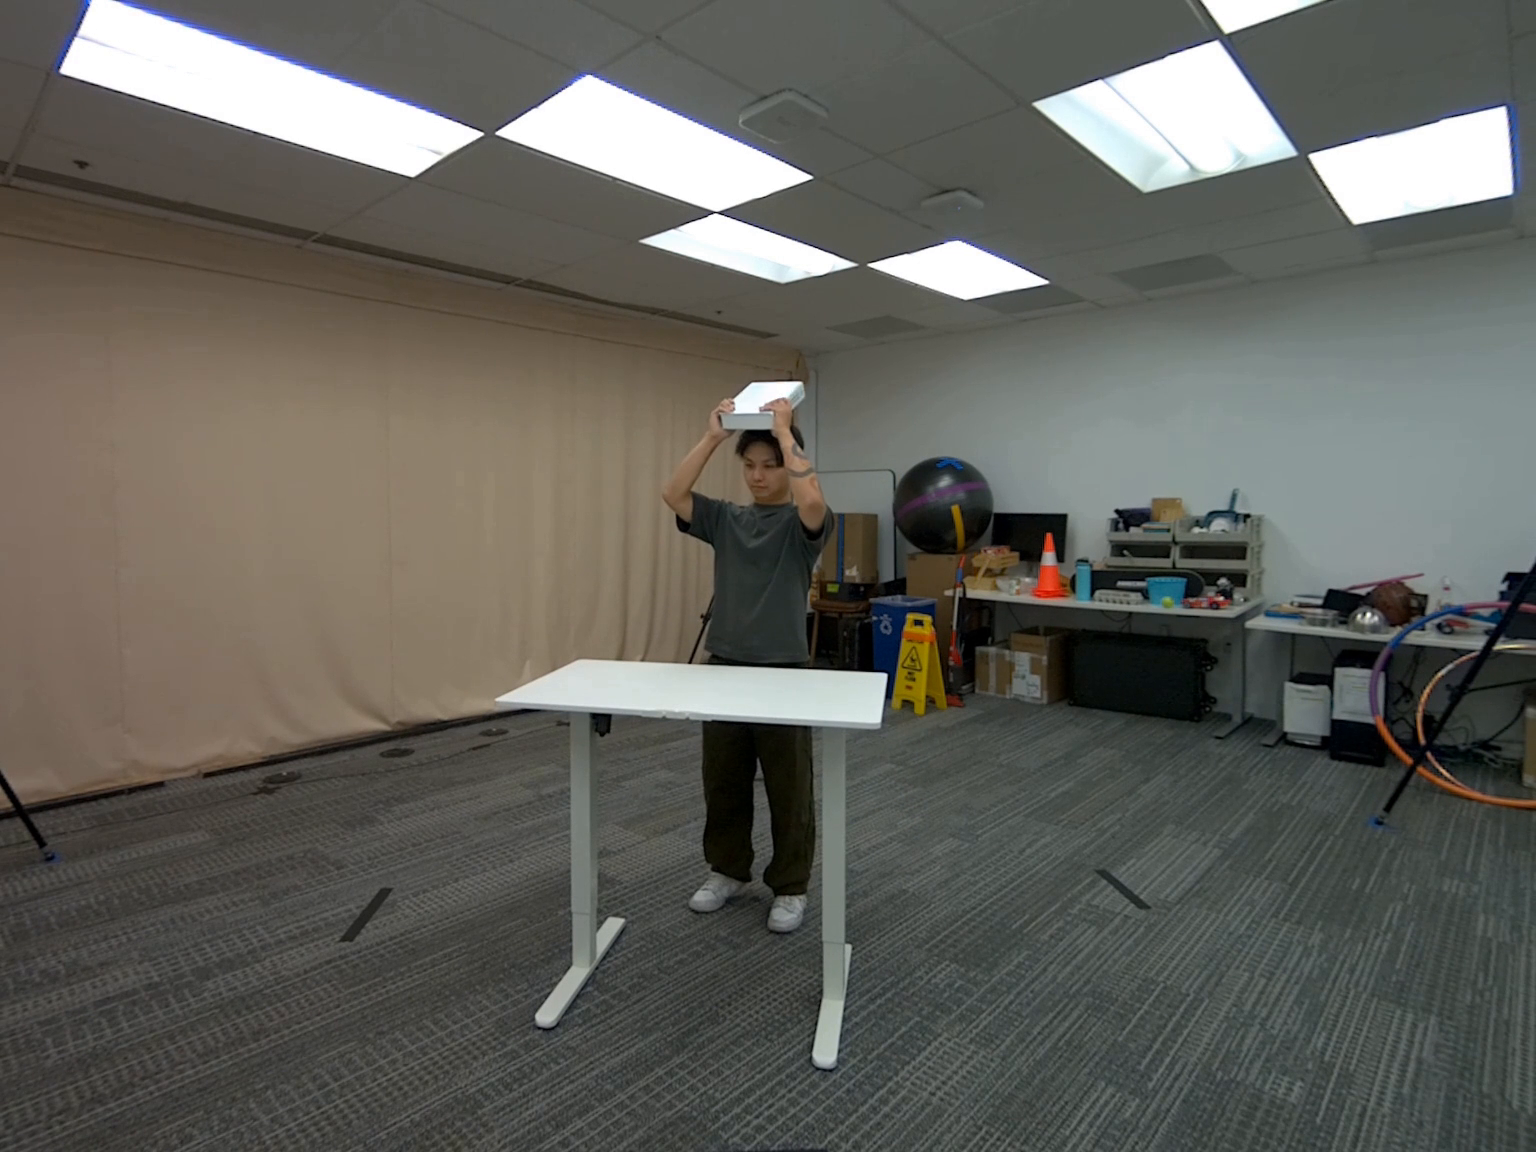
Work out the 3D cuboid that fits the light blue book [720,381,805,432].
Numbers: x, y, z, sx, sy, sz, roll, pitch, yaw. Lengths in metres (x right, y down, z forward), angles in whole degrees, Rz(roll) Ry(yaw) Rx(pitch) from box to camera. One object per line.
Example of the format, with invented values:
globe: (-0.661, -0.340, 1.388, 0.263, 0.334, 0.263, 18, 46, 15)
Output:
light blue book: (-0.012, -0.548, 2.725, 0.197, 0.058, 0.259, 4, 35, 27)
